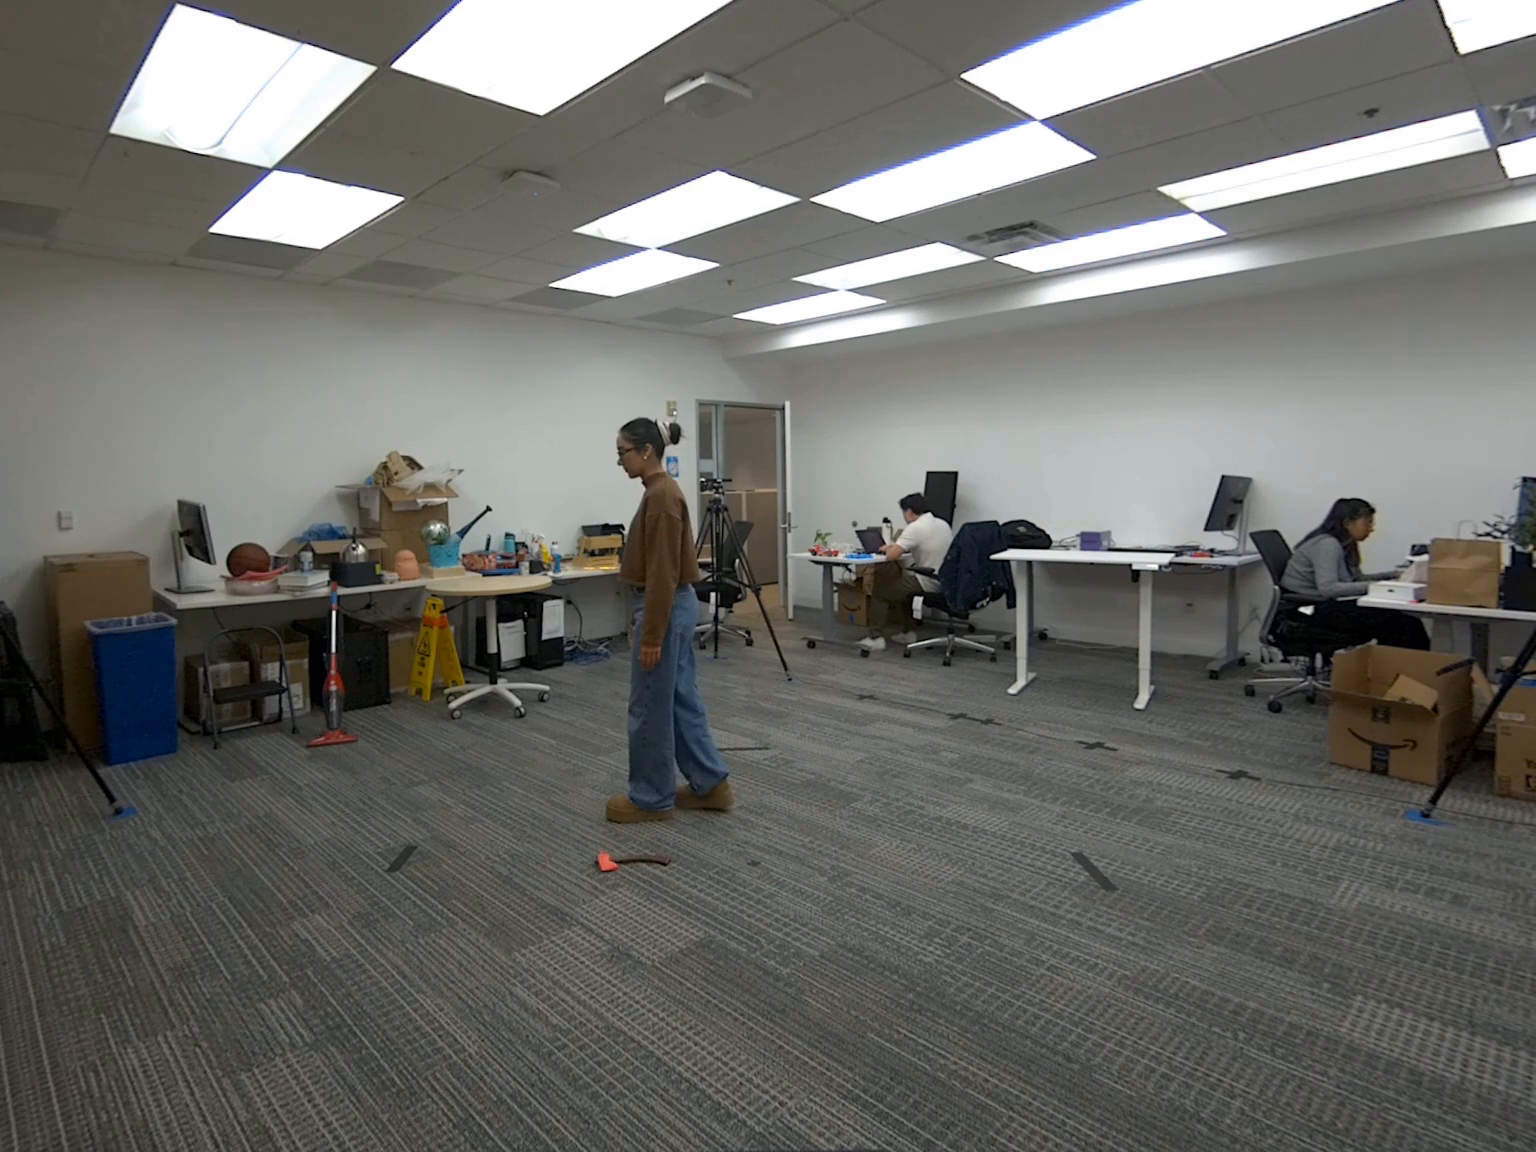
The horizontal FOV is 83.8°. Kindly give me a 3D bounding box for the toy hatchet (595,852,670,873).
[{"bbox_3d":[-0.498,1.047,3.095,0.273,0.029,0.130,2,7,9],"label":"toy hatchet"}]
